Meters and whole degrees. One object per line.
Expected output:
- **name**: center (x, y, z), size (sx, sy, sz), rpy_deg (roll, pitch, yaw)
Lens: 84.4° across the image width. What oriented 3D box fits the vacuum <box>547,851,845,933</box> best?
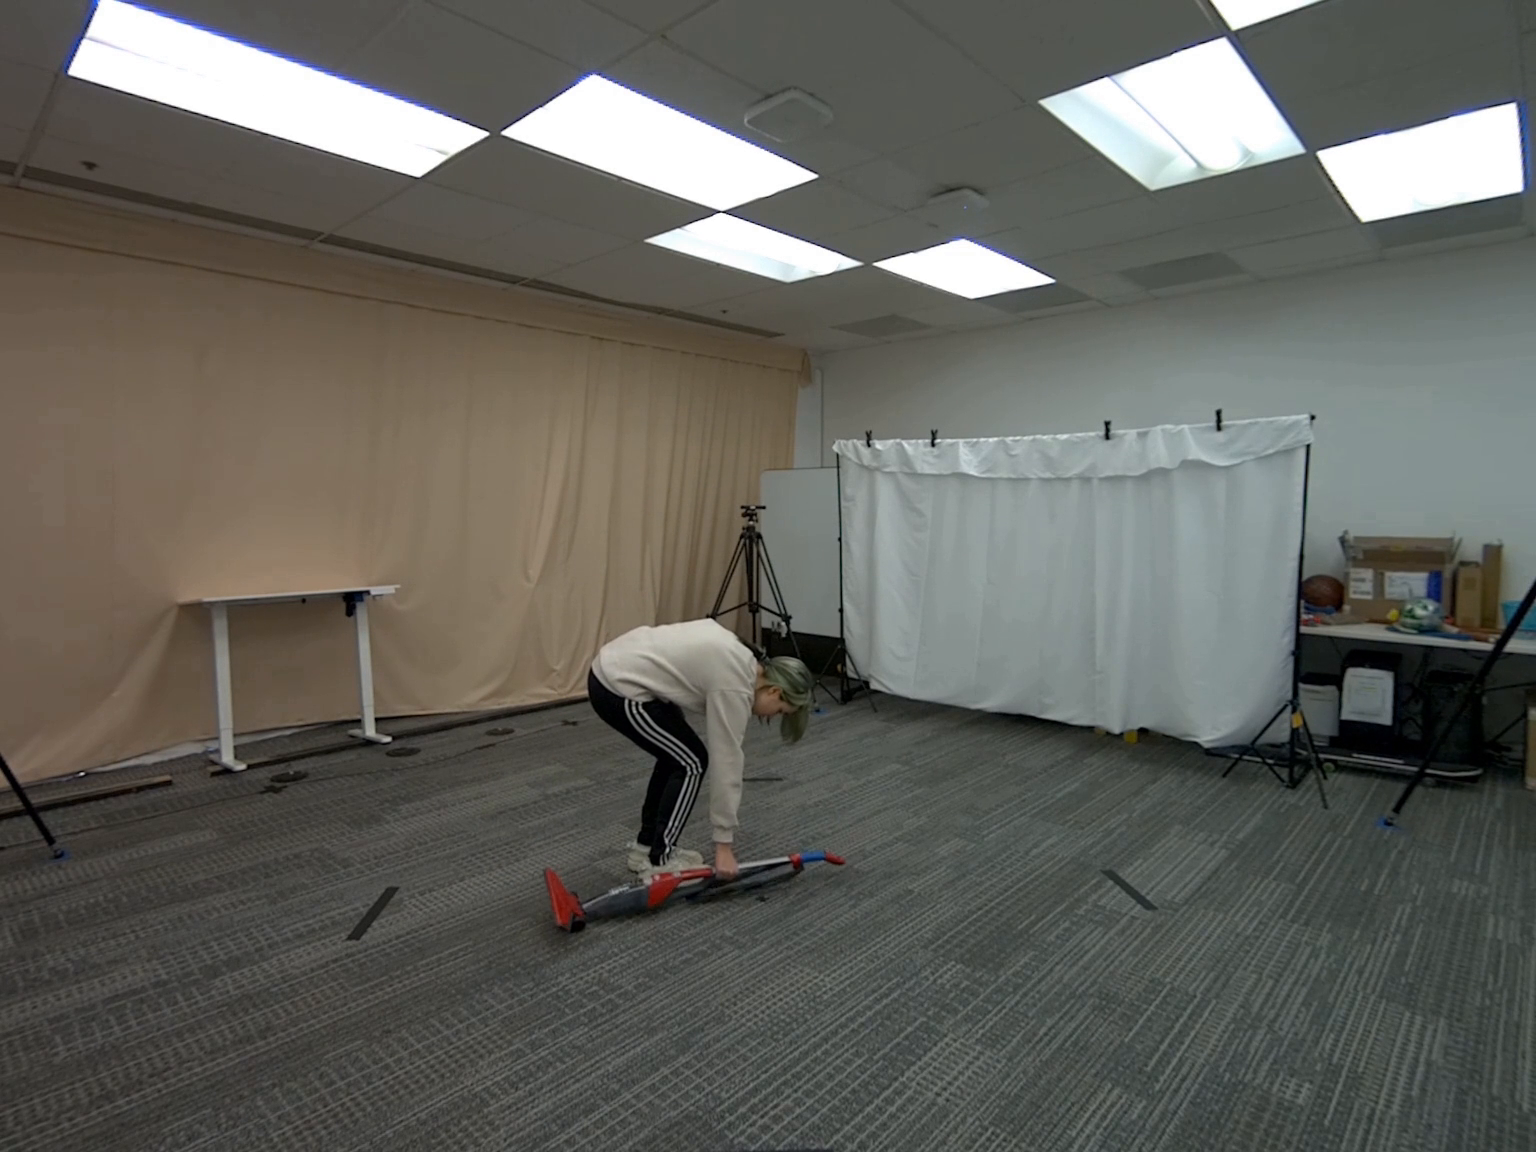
- **vacuum**: center (-0.192, 1.068, 2.954), size (1.027, 0.142, 0.260), rpy_deg (-2, 25, -21)
